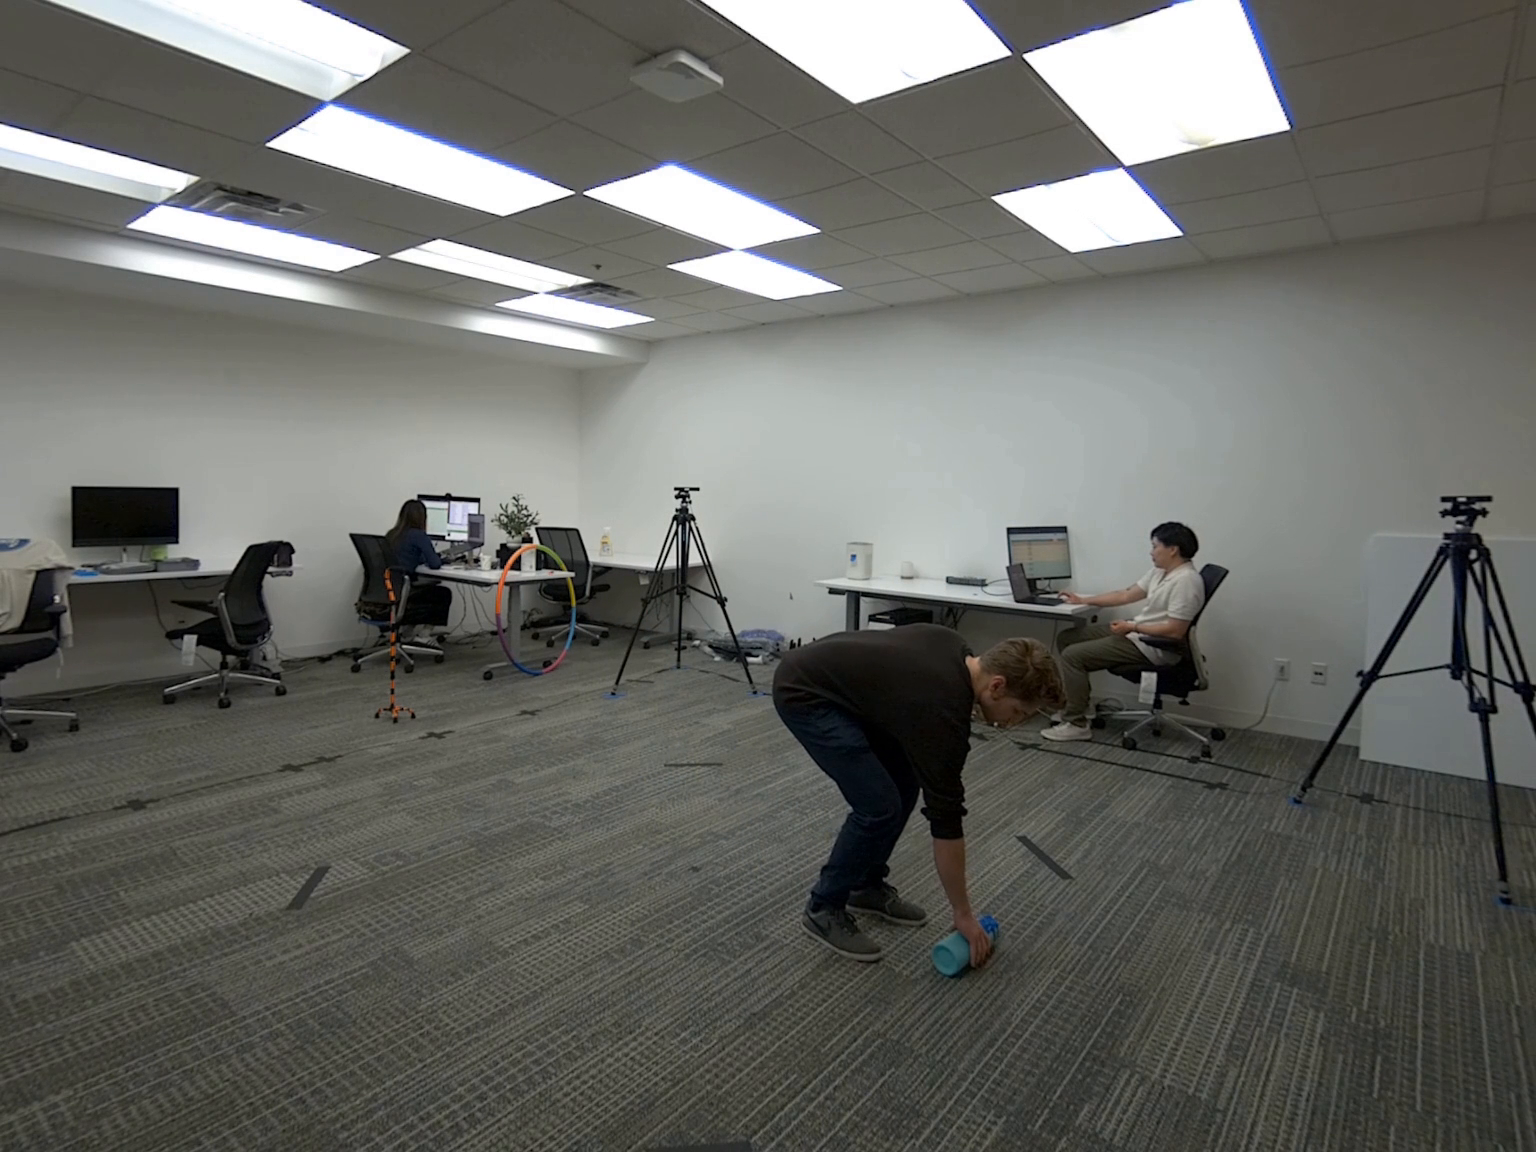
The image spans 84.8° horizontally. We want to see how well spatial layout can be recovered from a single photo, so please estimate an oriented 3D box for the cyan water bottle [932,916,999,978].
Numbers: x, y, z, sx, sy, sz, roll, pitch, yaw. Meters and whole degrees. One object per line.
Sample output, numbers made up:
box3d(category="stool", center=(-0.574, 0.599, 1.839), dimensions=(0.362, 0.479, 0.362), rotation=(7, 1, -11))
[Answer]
box3d(category="cyan water bottle", center=(0.593, 1.094, 2.550), dimensions=(0.275, 0.092, 0.095), rotation=(-3, 6, -45))
